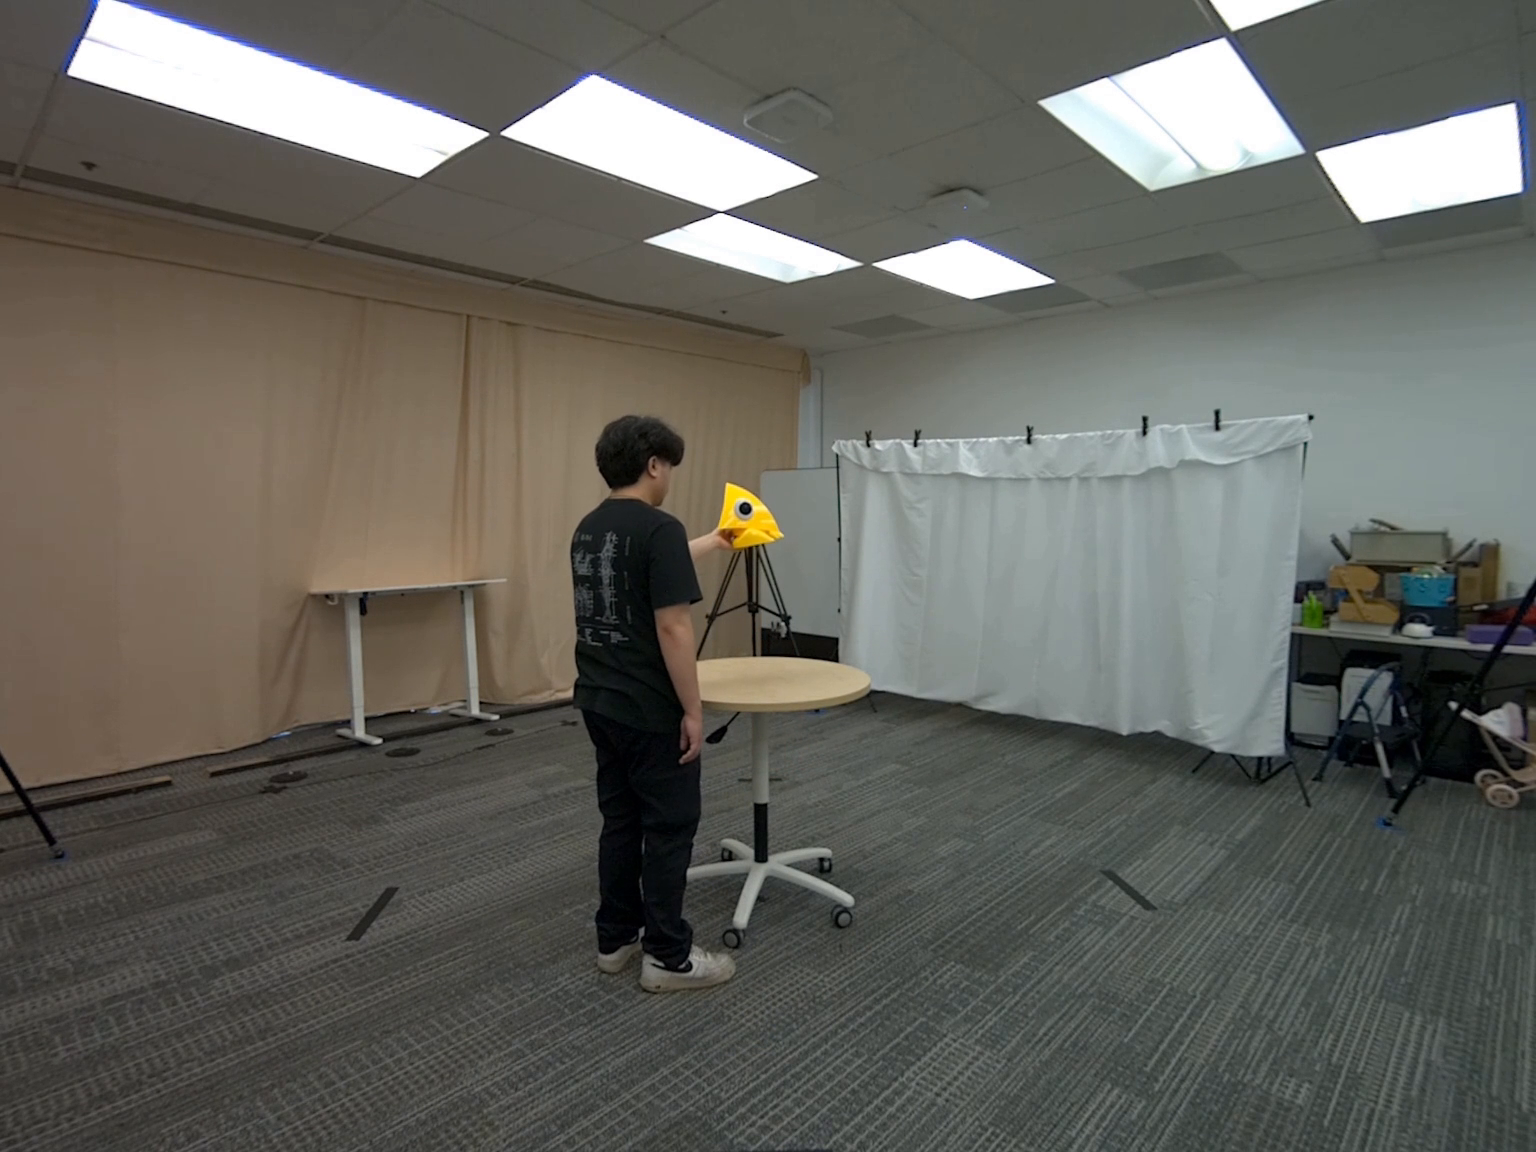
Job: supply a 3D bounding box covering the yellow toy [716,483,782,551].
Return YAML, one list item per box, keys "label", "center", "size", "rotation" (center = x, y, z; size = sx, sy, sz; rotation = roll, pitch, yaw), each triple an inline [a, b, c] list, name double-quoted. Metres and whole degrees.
- label: "yellow toy"
  center: [-0.067, -0.226, 2.999]
  size: [0.197, 0.230, 0.201]
  rotation: [-10, 4, 20]
